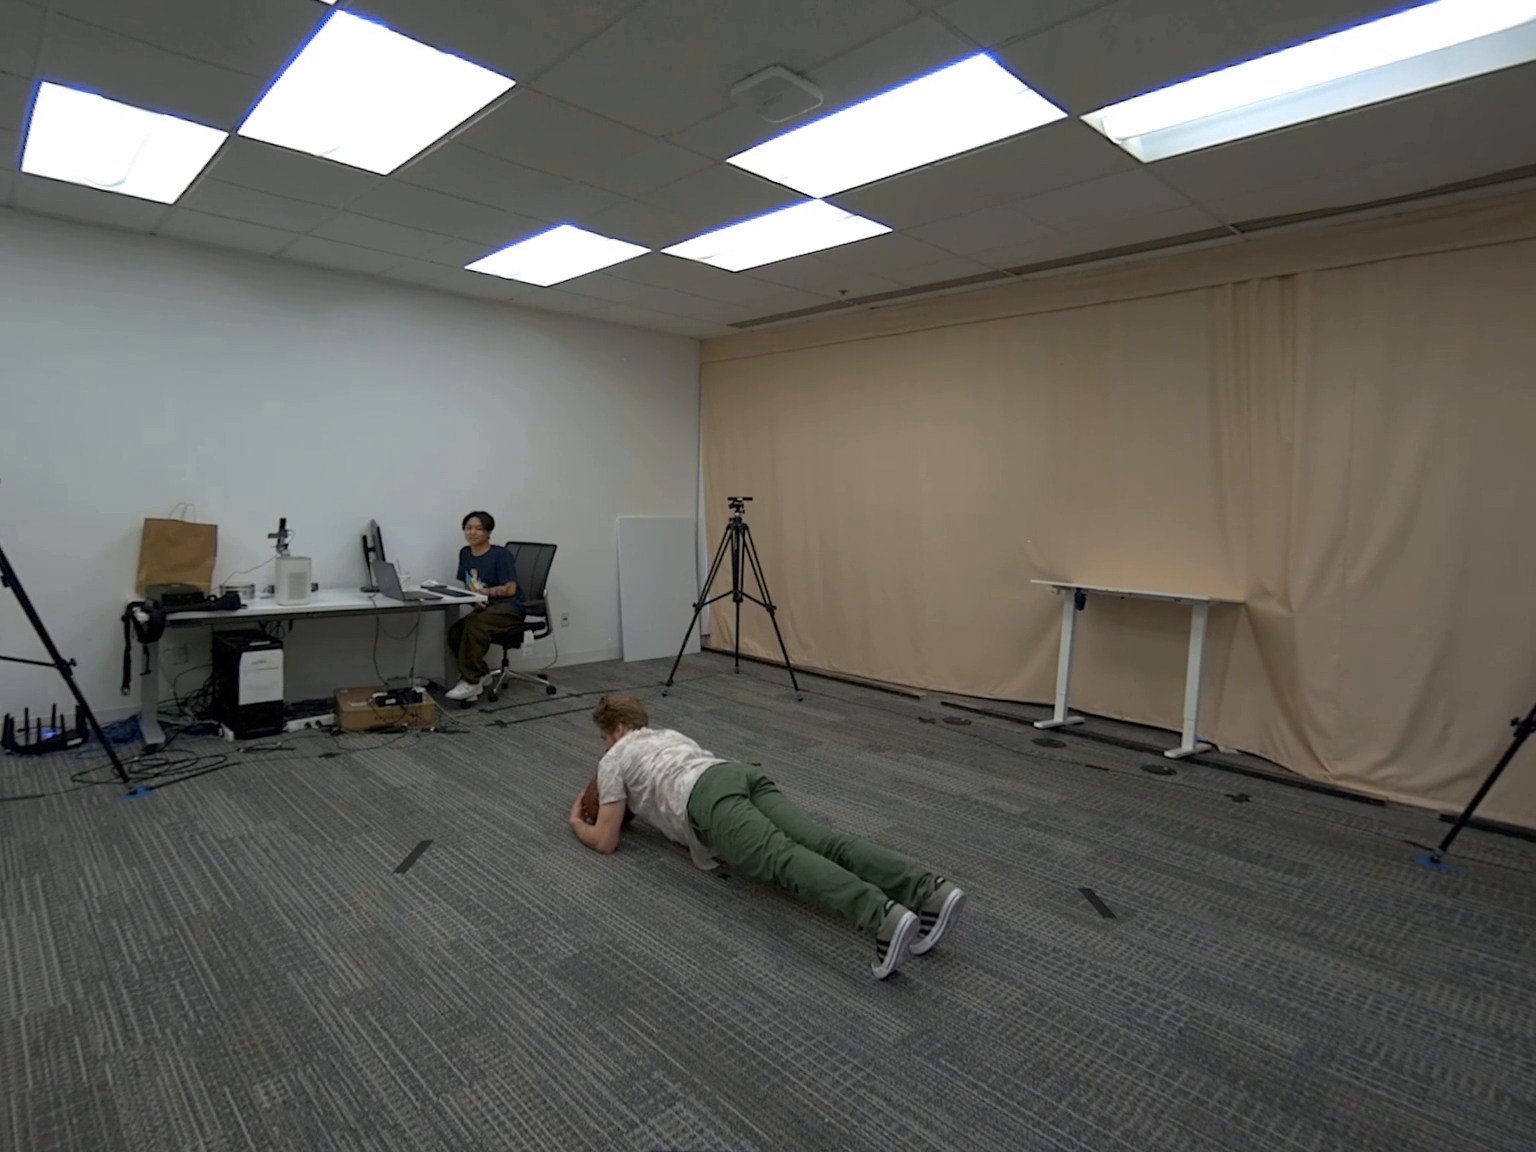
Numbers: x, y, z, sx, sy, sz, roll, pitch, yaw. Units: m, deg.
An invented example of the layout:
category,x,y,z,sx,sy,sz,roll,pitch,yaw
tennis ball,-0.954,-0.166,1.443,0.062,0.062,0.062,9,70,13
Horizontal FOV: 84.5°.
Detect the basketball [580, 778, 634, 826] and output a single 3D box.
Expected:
category,x,y,z,sx,sy,sz,roll,pitch,yaw
basketball,-0.653,0.935,3.544,0.236,0.235,0.237,1,4,-1
